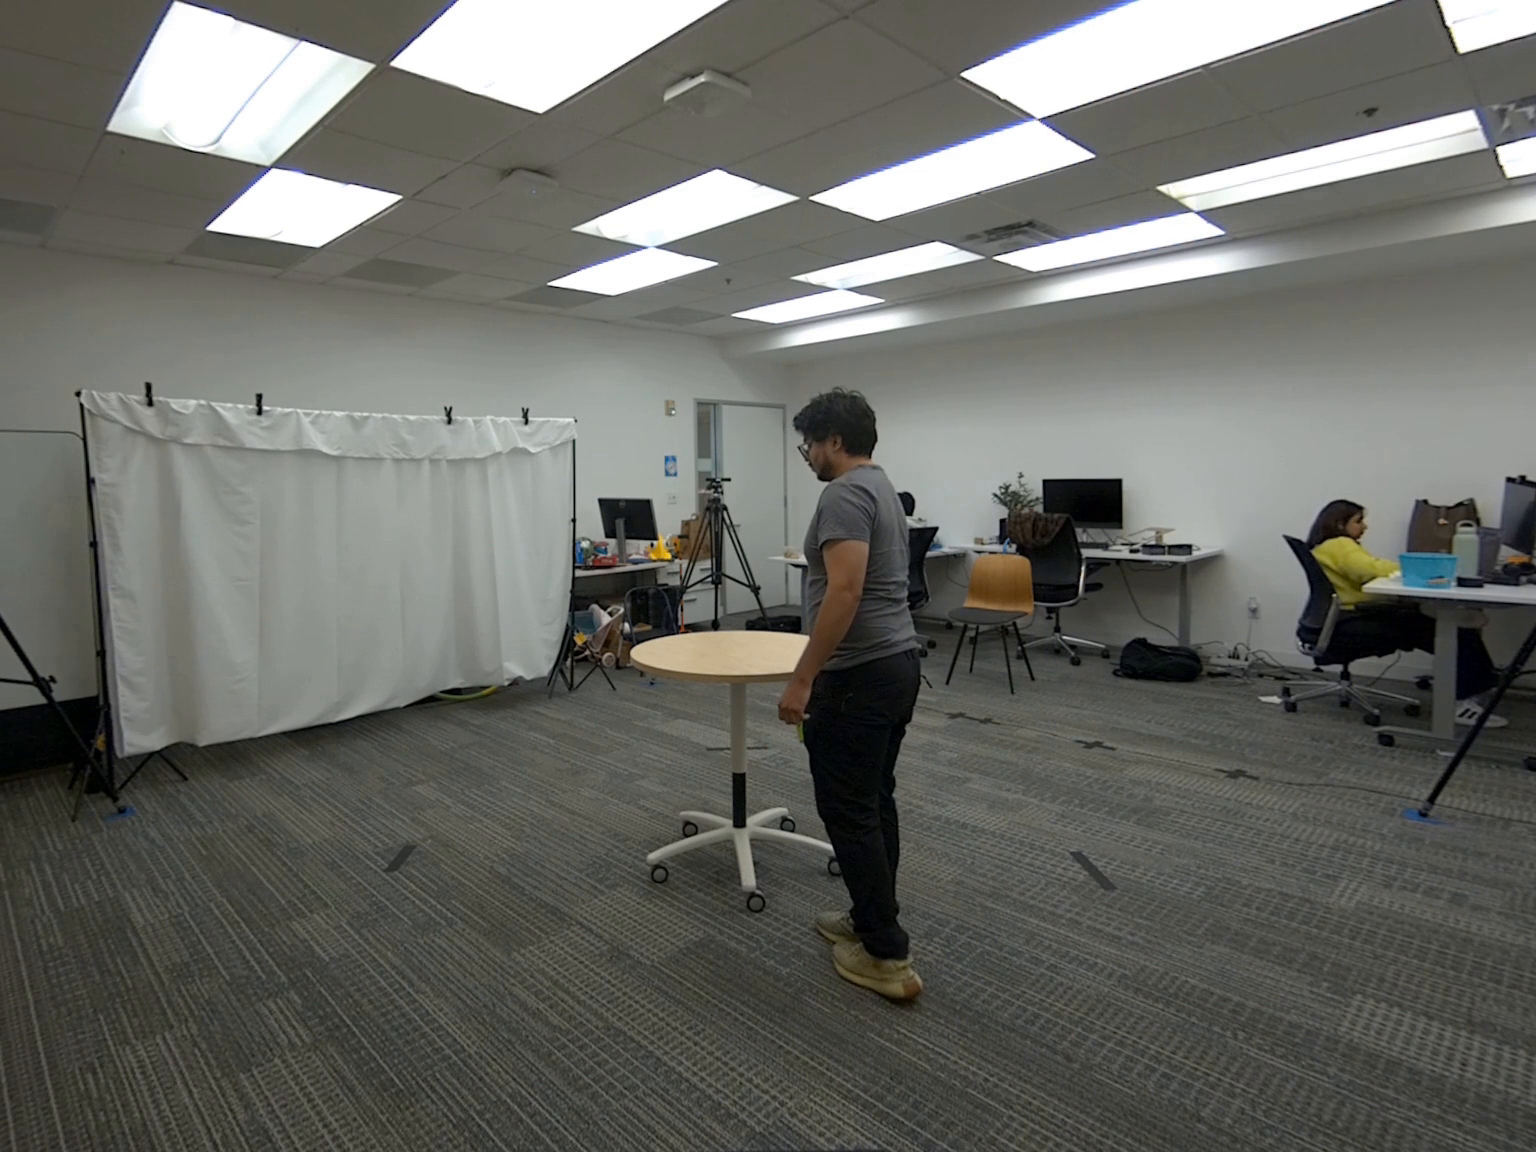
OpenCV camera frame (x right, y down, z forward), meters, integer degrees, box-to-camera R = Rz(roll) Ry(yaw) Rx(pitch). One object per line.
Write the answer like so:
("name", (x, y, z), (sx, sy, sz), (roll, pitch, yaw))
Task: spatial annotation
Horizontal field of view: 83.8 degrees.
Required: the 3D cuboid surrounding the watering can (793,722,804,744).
("watering can", (0.189, 0.420, 2.660), (0.272, 0.180, 0.098), (-6, -19, -28))
